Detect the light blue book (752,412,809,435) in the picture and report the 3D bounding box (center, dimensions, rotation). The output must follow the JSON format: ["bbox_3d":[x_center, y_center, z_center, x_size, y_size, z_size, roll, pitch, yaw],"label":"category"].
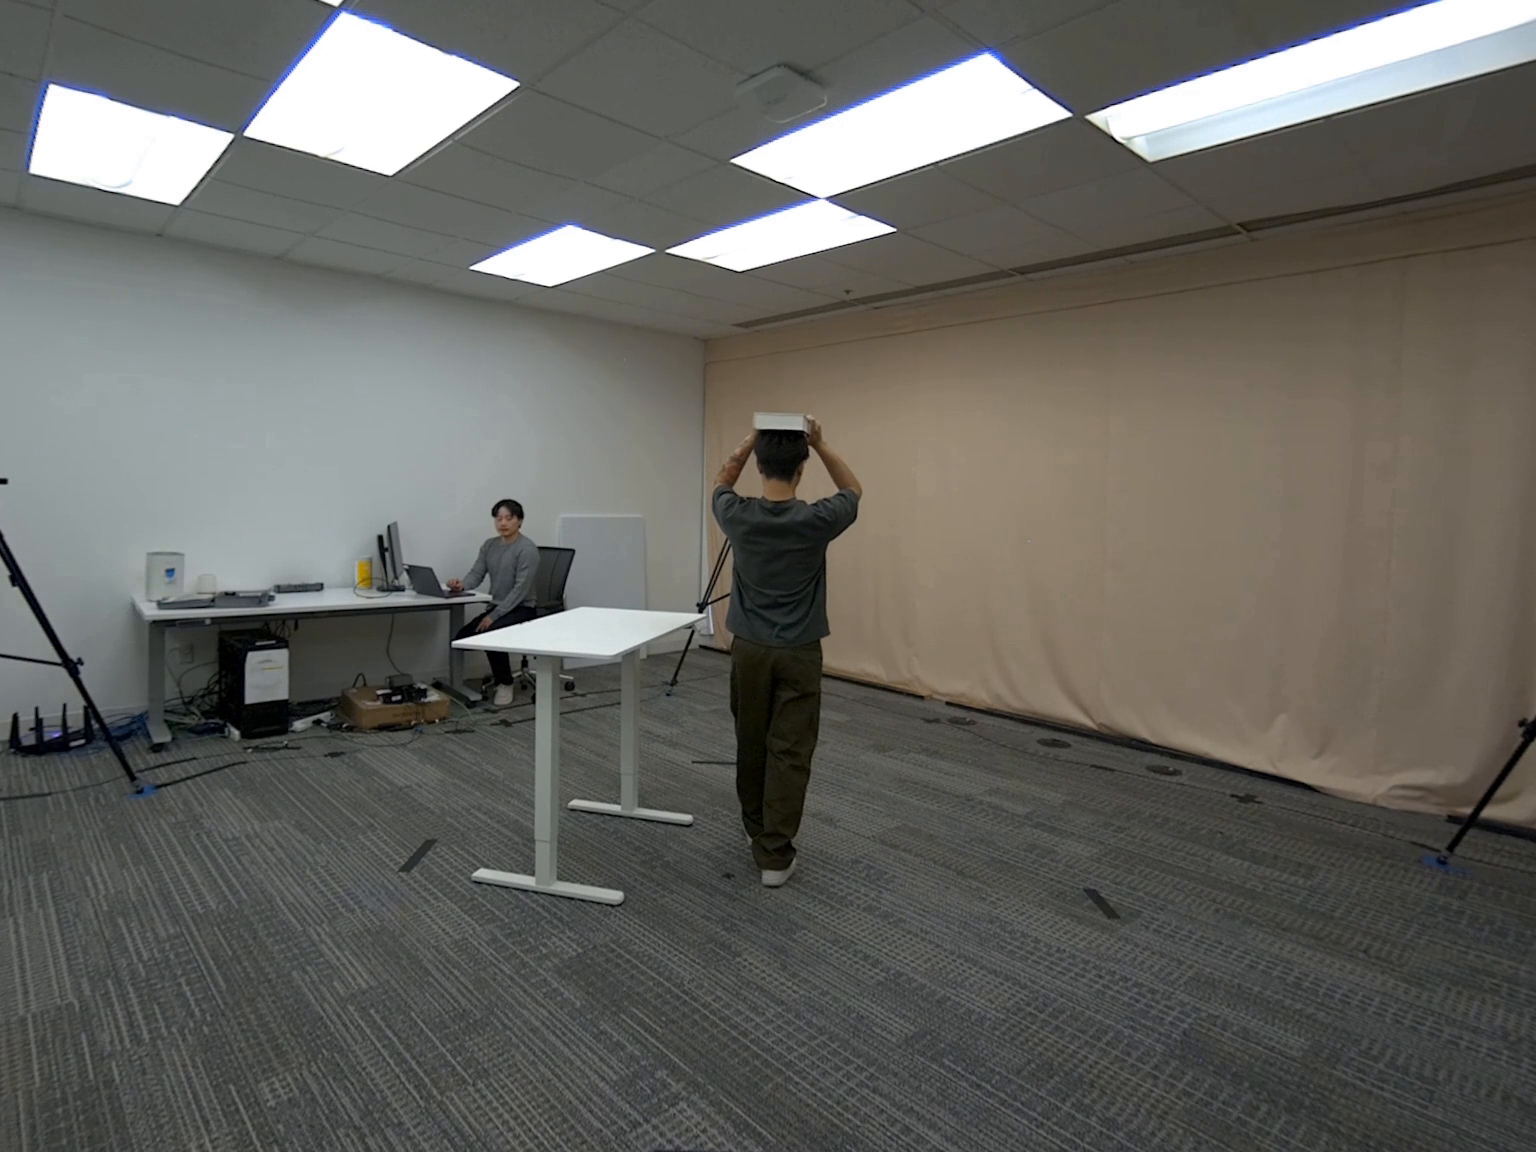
[{"bbox_3d":[0.057,-0.578,3.194,0.193,0.059,0.259,5,5,12],"label":"light blue book"}]
